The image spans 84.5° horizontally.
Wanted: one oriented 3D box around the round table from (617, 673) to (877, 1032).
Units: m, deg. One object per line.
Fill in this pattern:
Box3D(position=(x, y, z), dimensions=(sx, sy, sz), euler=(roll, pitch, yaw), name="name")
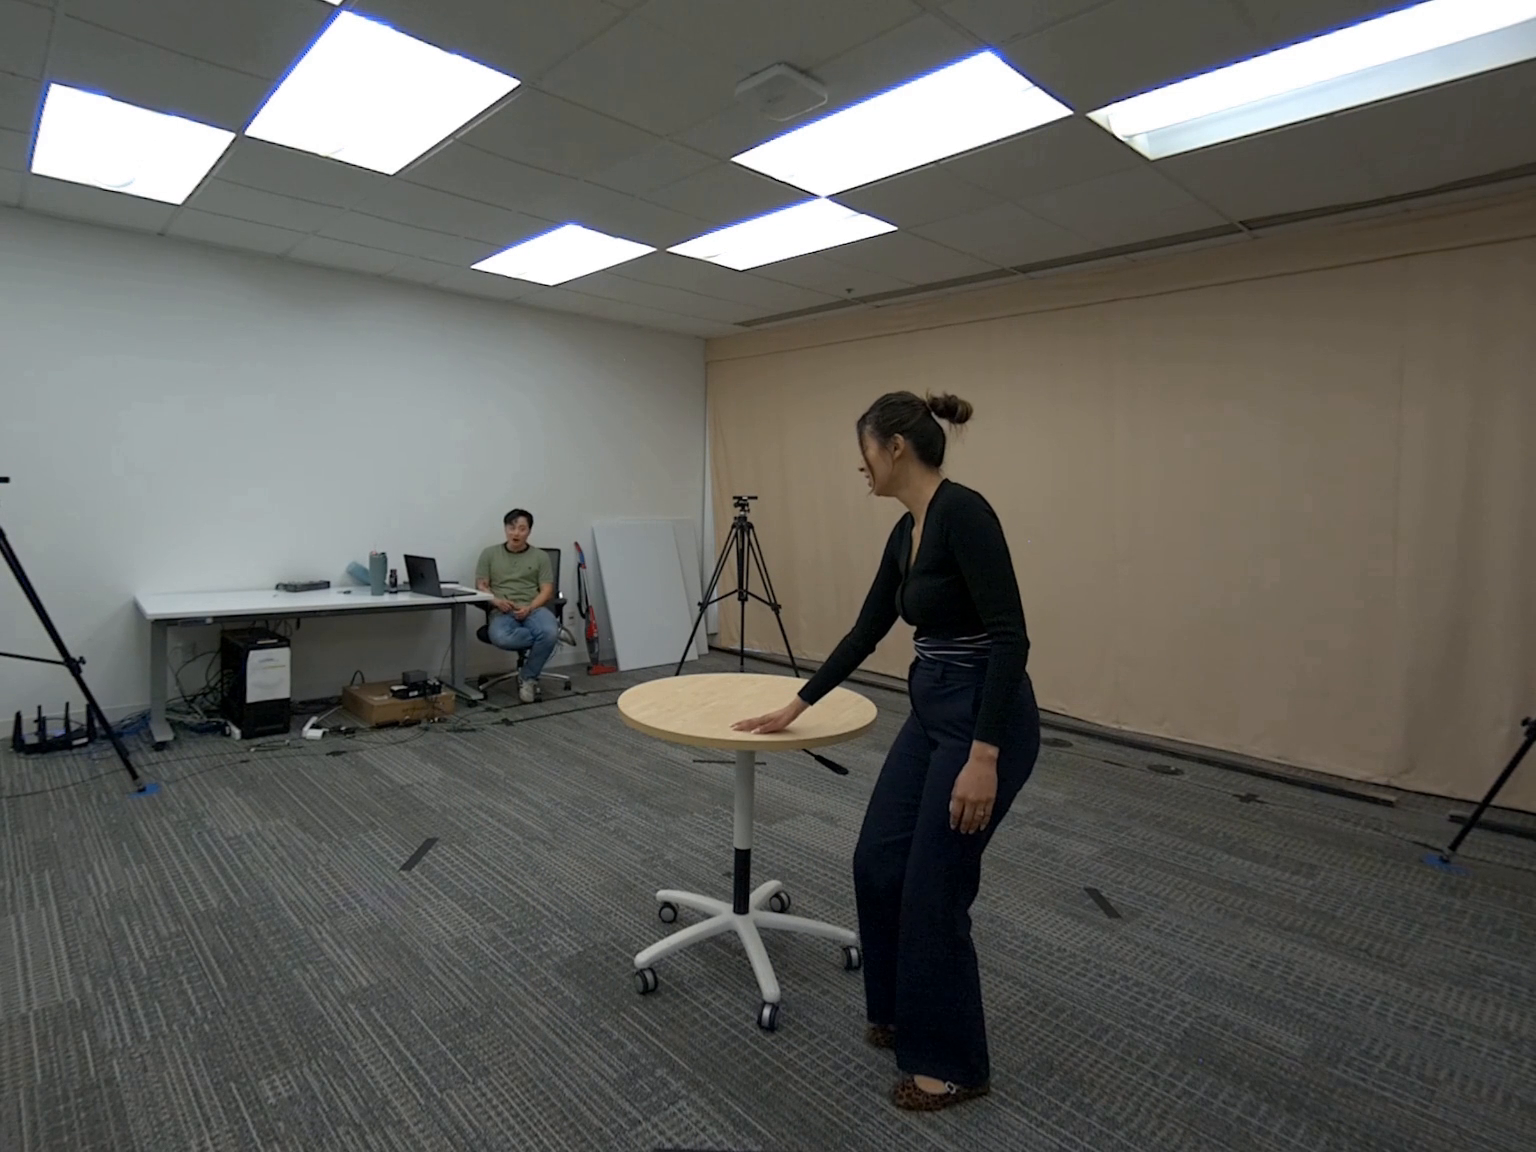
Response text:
Box3D(position=(-0.083, 0.770, 2.529), dimensions=(0.763, 0.791, 0.767), euler=(1, 5, -1), name="round table")
